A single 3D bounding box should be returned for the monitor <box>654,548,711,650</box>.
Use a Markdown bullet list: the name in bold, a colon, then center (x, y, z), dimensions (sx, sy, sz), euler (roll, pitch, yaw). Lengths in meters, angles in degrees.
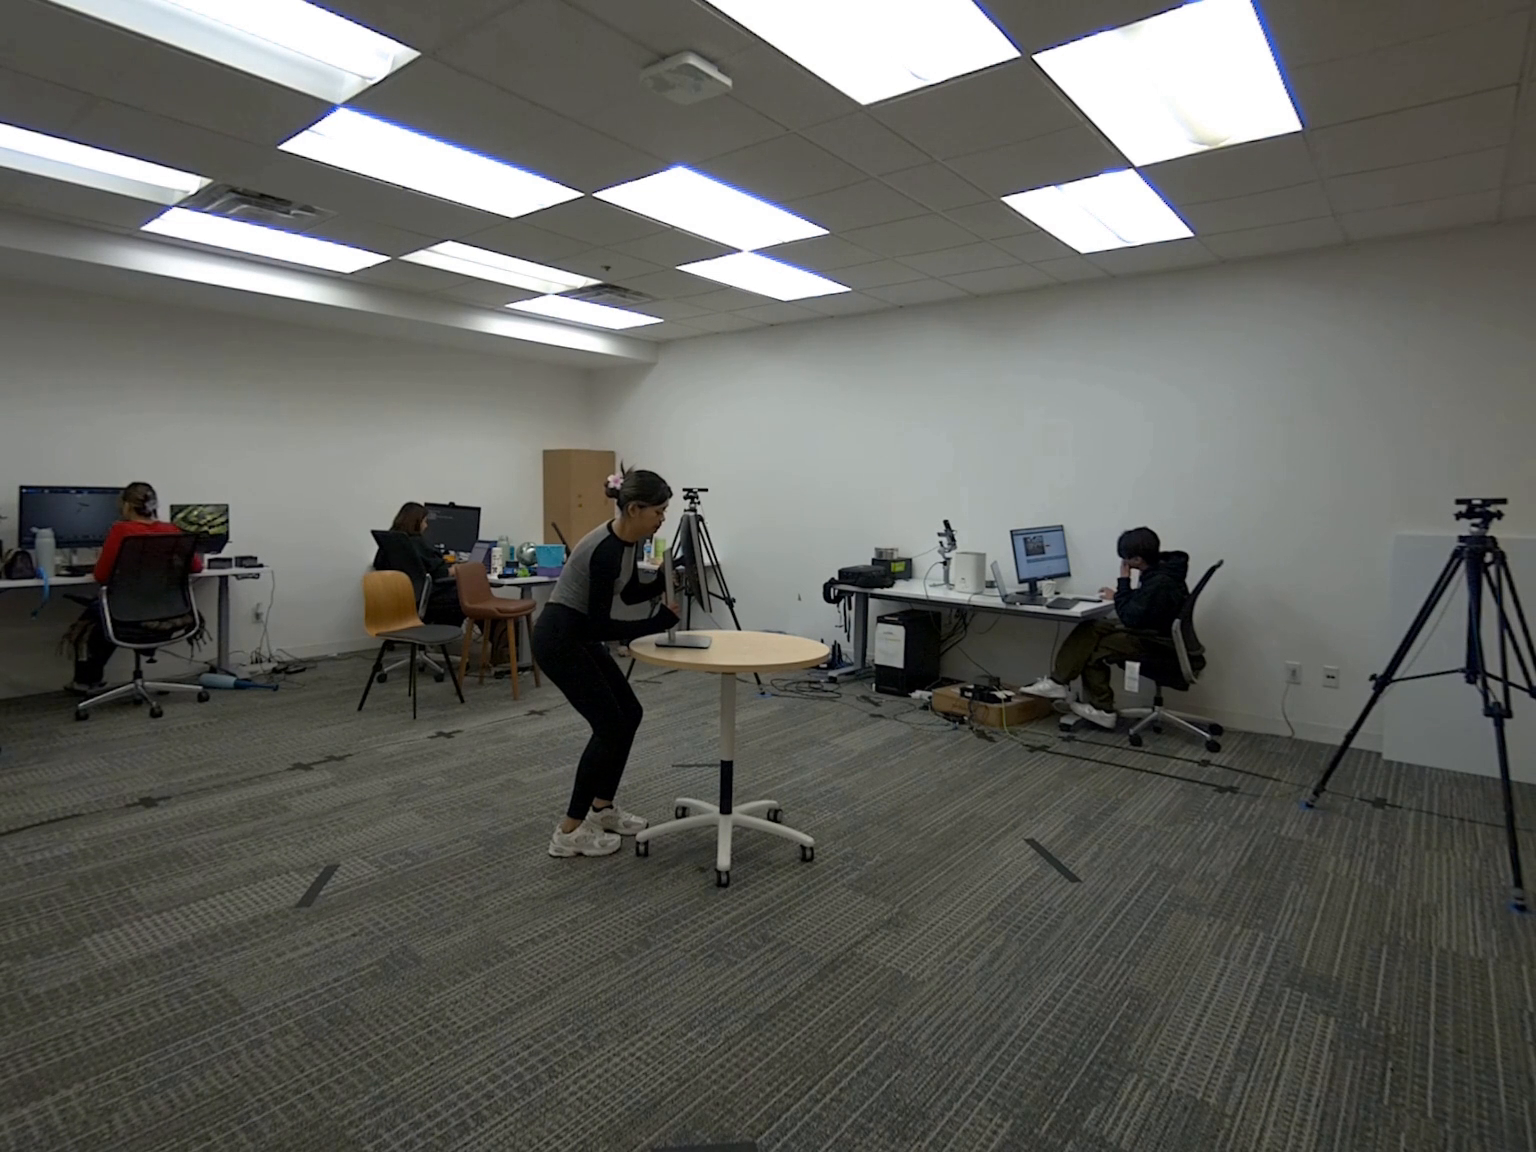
- **monitor**: center (-0.330, 0.015, 3.293), dimensions (0.185, 0.521, 0.545), euler (2, 3, -10)
